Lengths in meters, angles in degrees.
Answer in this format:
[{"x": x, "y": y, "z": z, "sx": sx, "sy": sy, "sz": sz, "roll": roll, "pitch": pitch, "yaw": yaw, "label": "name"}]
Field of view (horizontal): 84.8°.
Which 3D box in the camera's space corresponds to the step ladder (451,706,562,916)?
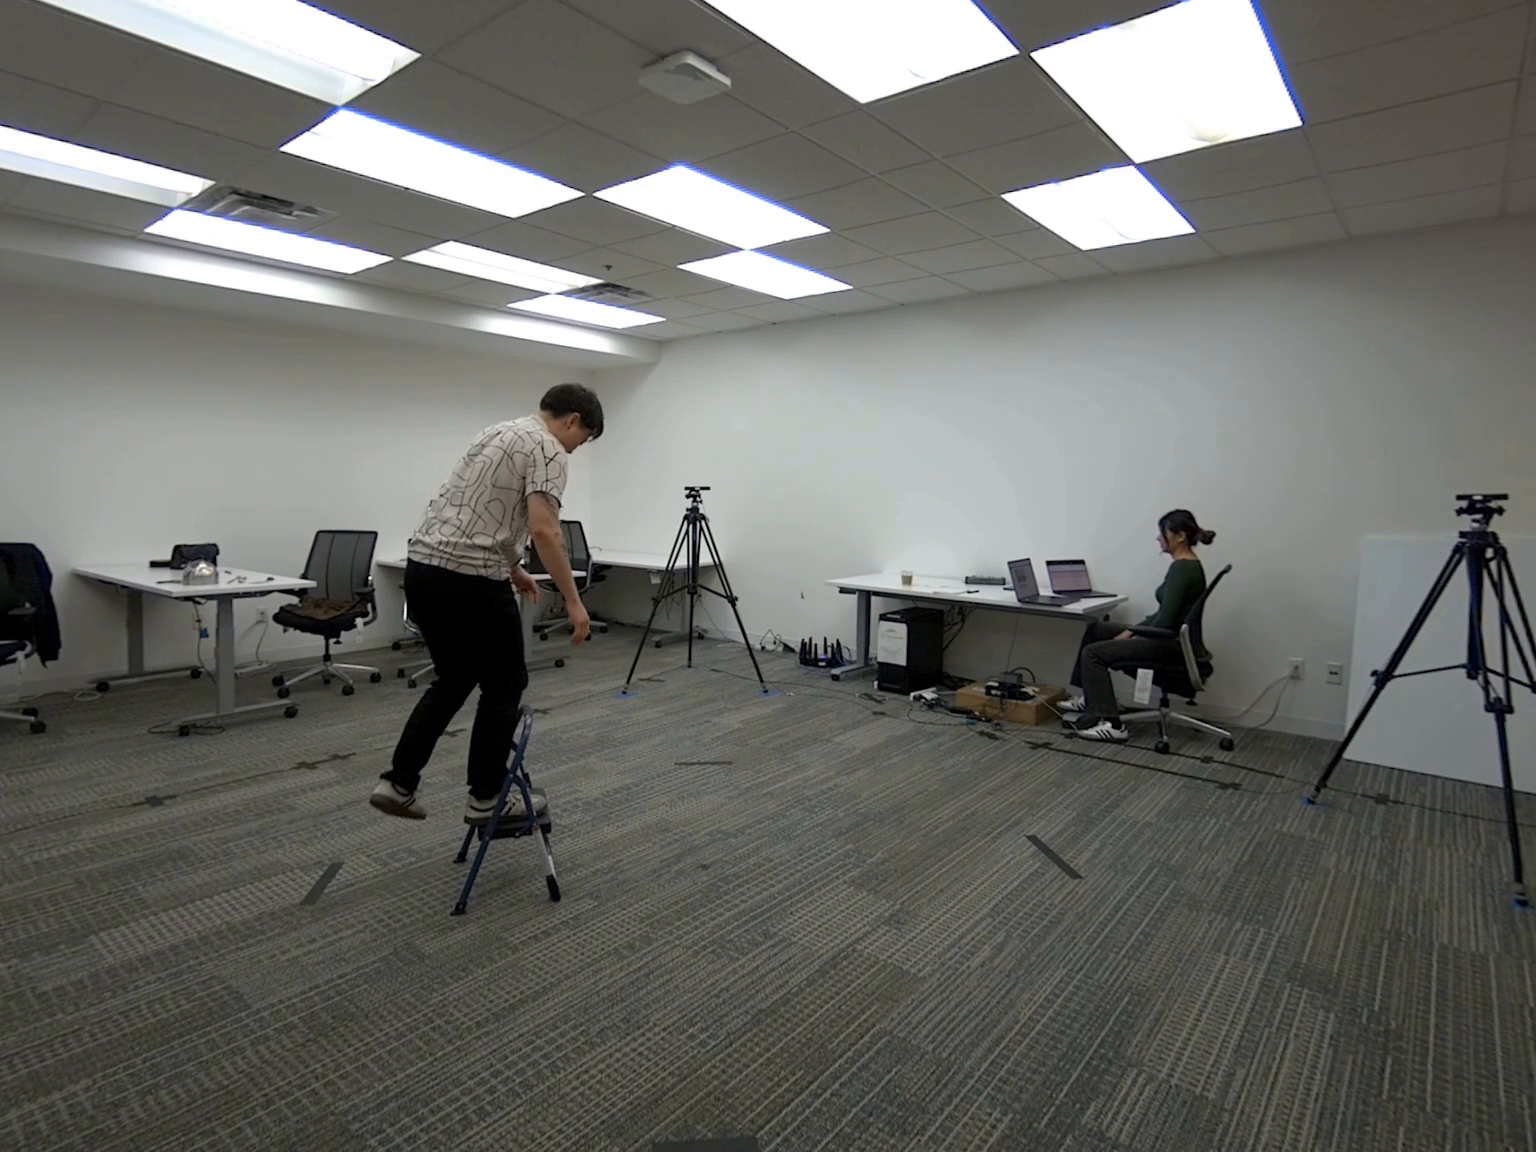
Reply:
[{"x": -0.932, "y": 0.770, "z": 2.974, "sx": 0.343, "sy": 0.604, "sz": 0.440, "roll": -1, "pitch": 4, "yaw": -19, "label": "step ladder"}]
